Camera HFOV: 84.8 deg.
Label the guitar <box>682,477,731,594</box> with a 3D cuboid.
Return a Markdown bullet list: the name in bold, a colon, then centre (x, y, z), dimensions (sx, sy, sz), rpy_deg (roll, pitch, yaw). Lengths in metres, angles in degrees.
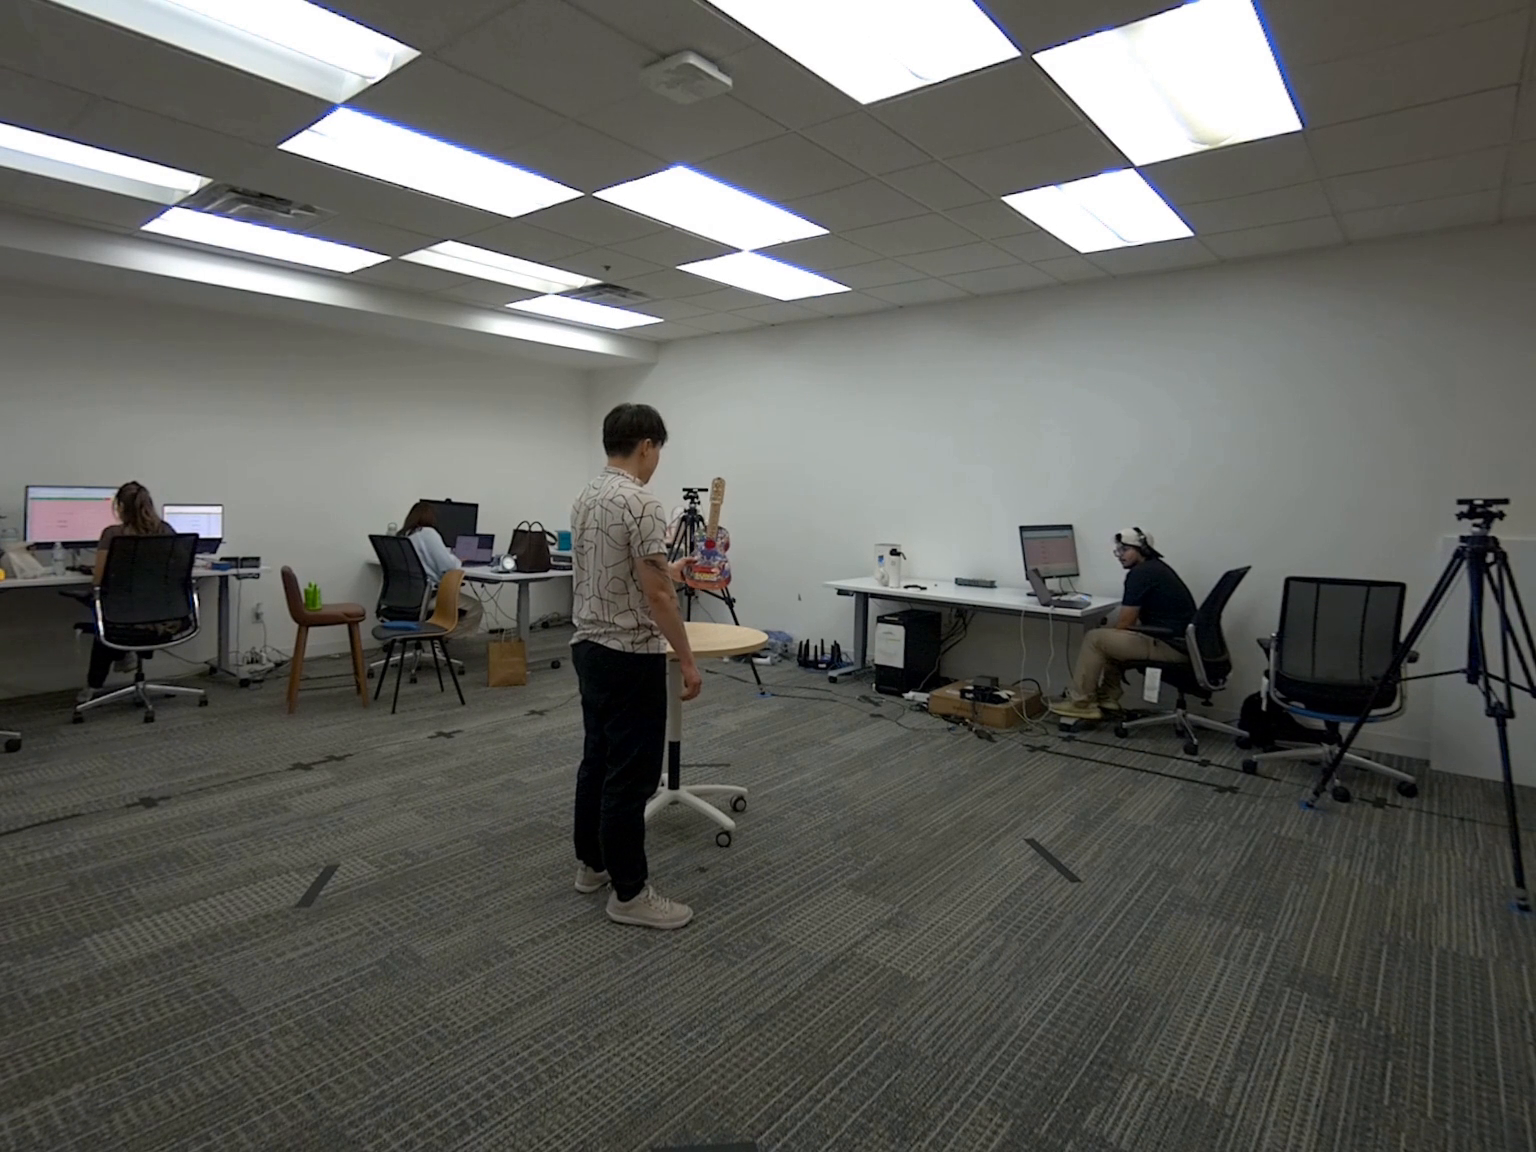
- **guitar**: centre (-0.211, -0.176, 3.487), dimensions (0.196, 0.505, 0.069), rpy_deg (13, -28, 10)
